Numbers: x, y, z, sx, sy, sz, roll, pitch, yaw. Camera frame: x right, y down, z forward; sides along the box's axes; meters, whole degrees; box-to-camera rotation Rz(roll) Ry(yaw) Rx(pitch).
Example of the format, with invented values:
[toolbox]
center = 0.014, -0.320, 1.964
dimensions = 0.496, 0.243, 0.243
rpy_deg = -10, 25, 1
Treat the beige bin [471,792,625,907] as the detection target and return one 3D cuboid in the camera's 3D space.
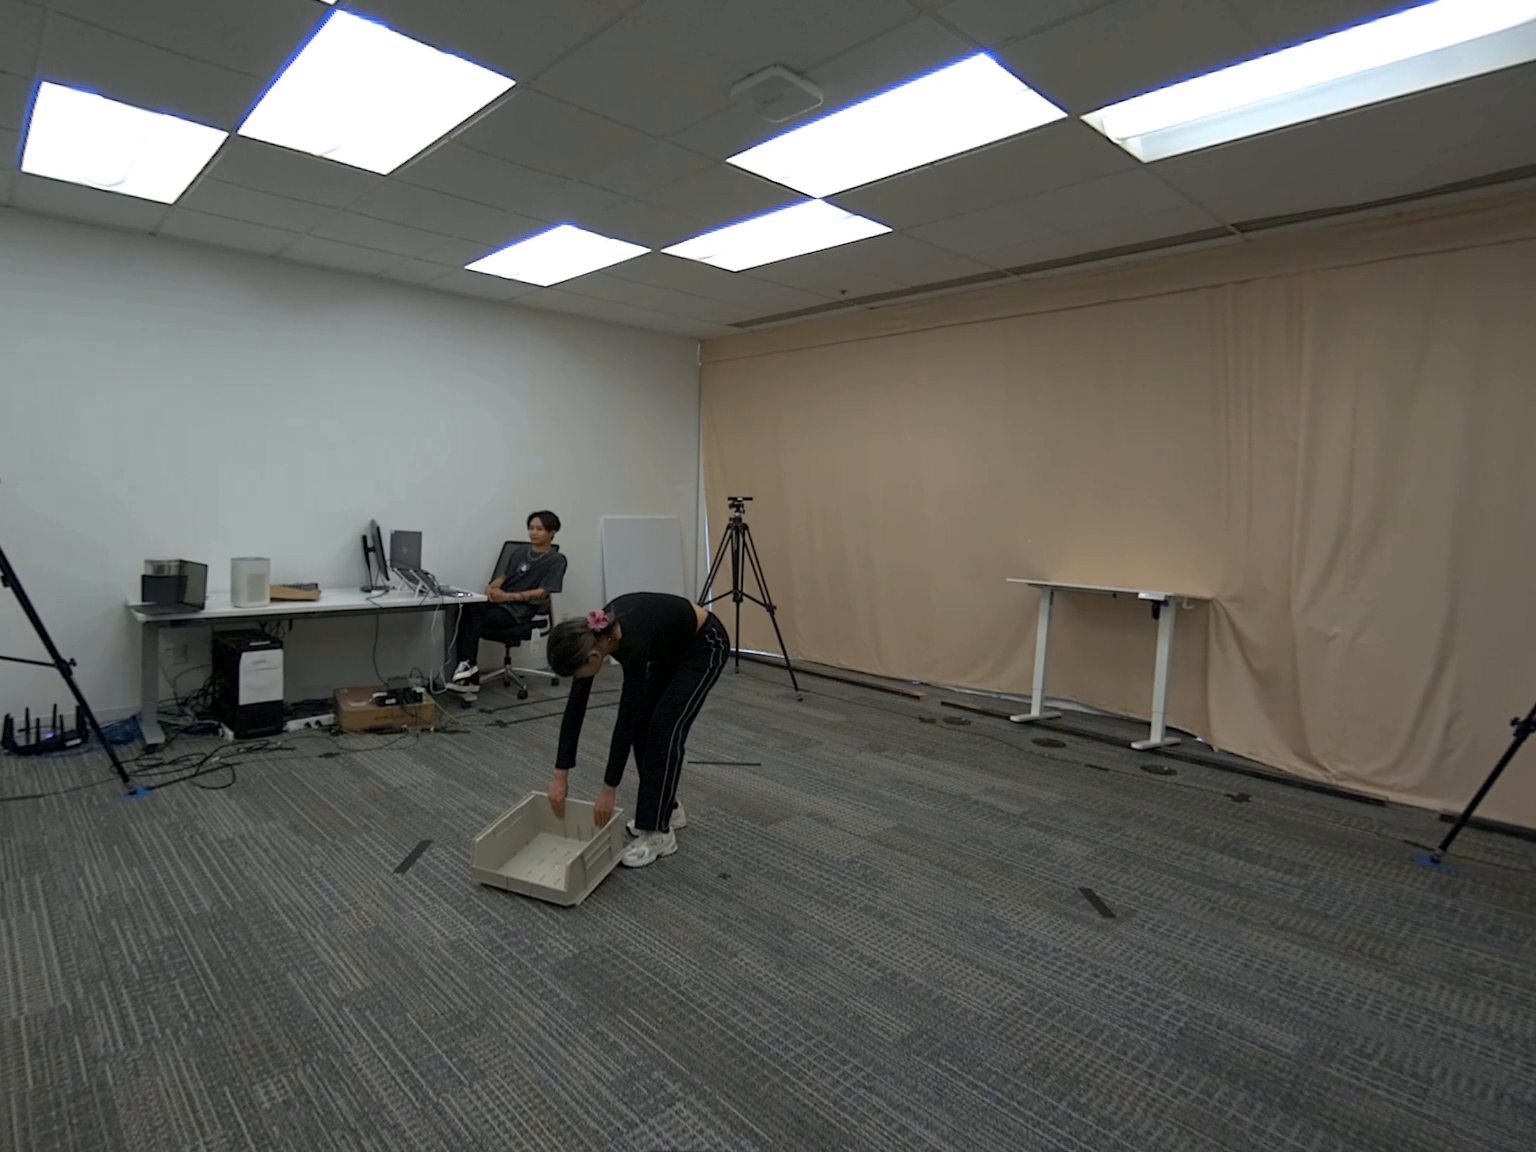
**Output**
[beige bin]
center = -0.797, 0.987, 3.028
dimensions = 0.430, 0.187, 0.374
rpy_deg = 2, 14, 23
